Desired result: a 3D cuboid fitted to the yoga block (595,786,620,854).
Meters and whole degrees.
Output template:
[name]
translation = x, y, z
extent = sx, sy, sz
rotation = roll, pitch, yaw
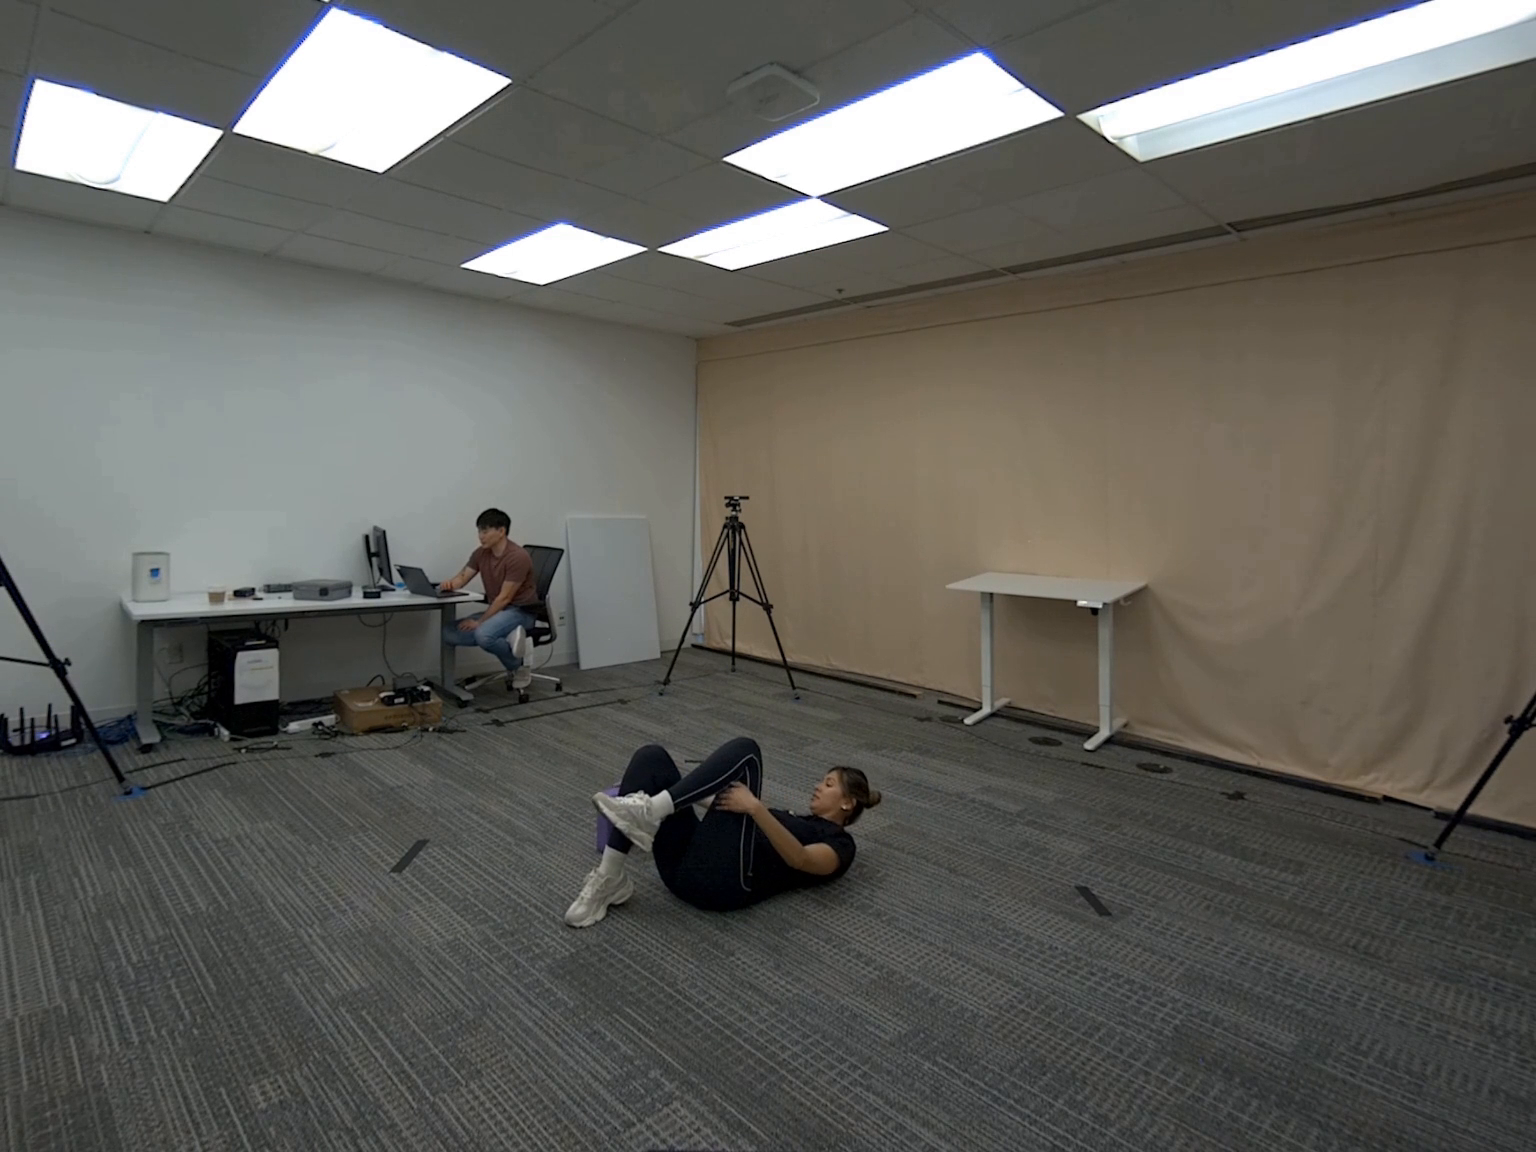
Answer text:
[yoga block]
translation = -0.602, 0.961, 3.307
extent = 0.078, 0.228, 0.146
rotation = 5, 6, 38
